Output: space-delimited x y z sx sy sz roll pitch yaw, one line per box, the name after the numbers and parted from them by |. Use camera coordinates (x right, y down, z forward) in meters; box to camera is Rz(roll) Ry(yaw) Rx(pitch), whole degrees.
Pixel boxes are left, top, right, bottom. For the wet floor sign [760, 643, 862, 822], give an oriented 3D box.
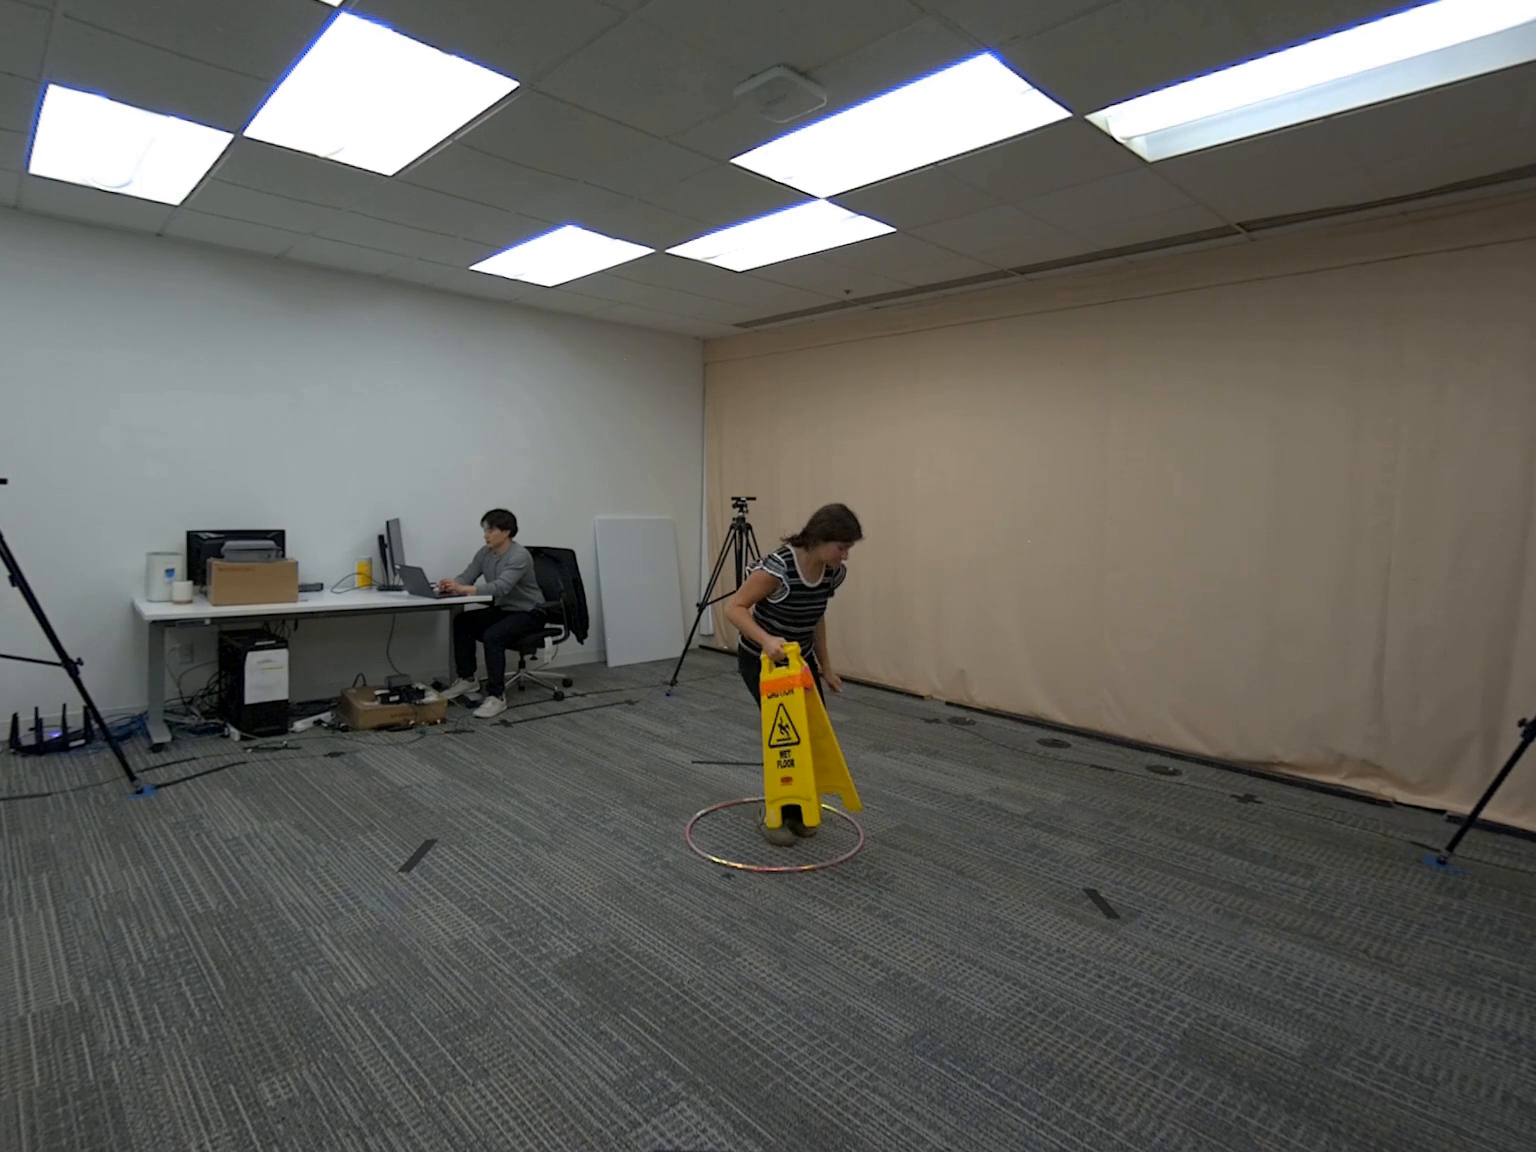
0.089 0.530 3.194 0.283 0.652 0.286 -1 -14 -42 | wet floor sign
